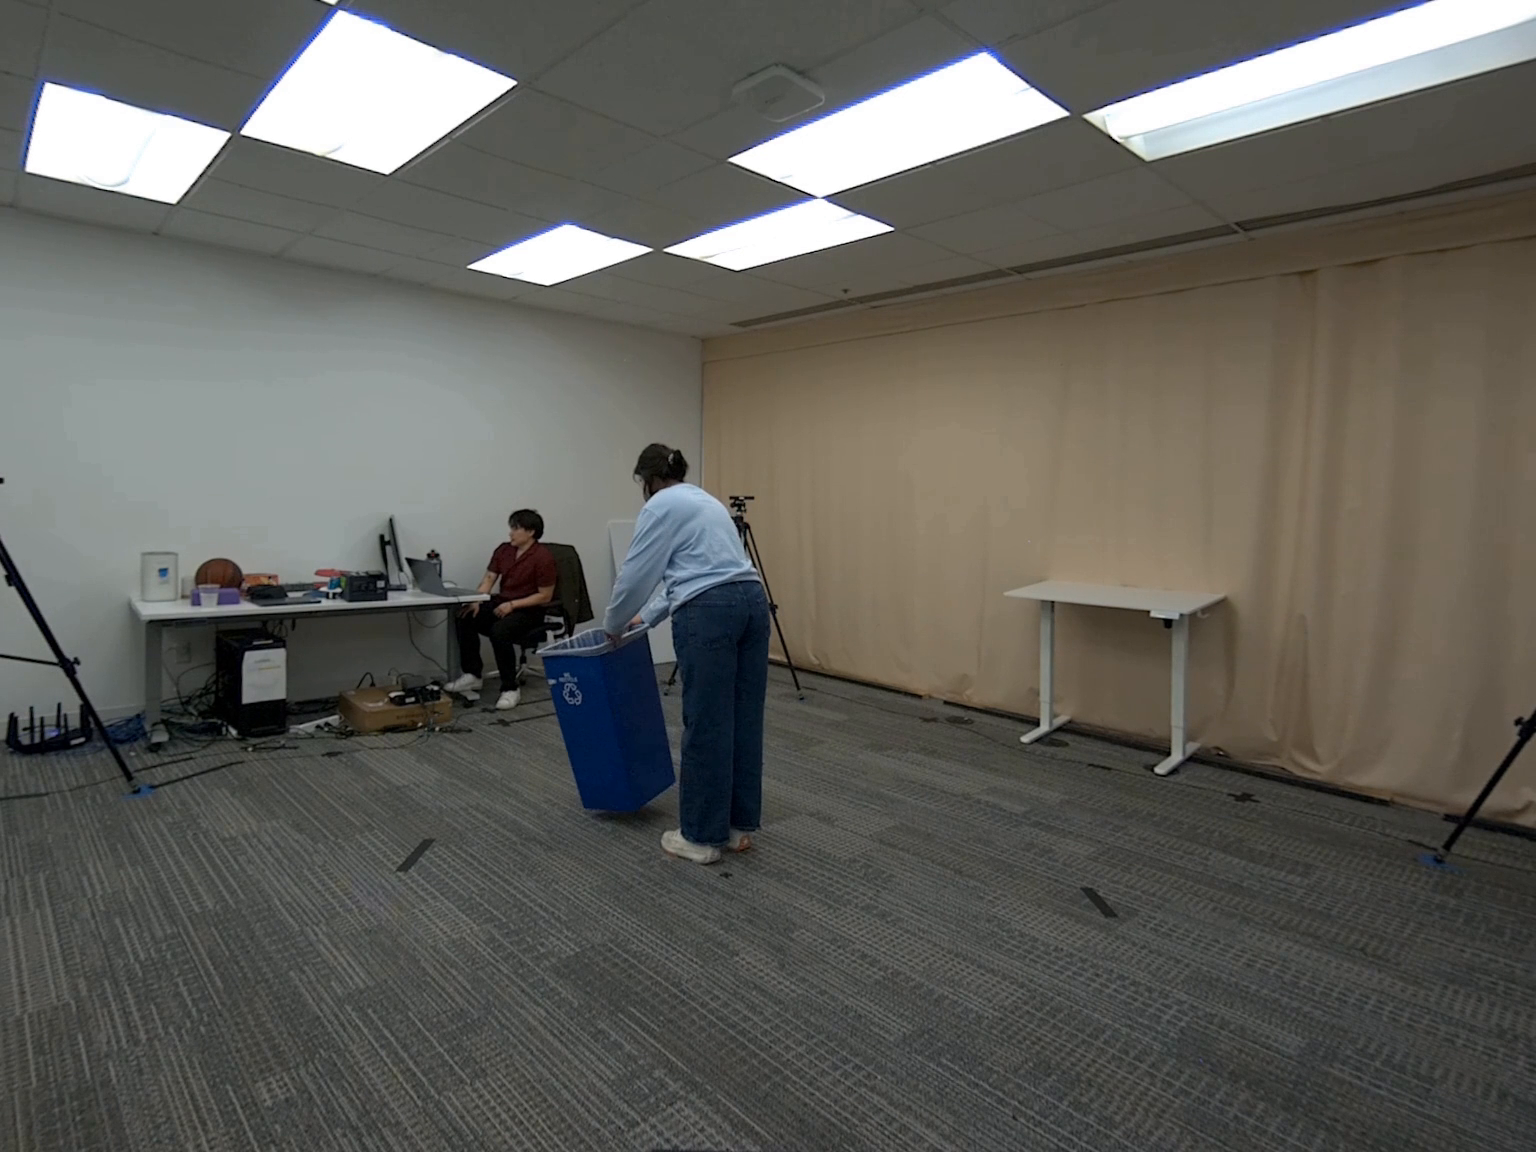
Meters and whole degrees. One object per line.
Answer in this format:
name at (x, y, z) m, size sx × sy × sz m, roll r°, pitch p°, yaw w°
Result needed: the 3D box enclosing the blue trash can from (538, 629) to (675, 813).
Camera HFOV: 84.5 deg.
blue trash can at (-0.681, 0.611, 3.640) m, size 0.381 × 0.710 × 0.373 m, roll -7°, pitch 7°, yaw 33°
